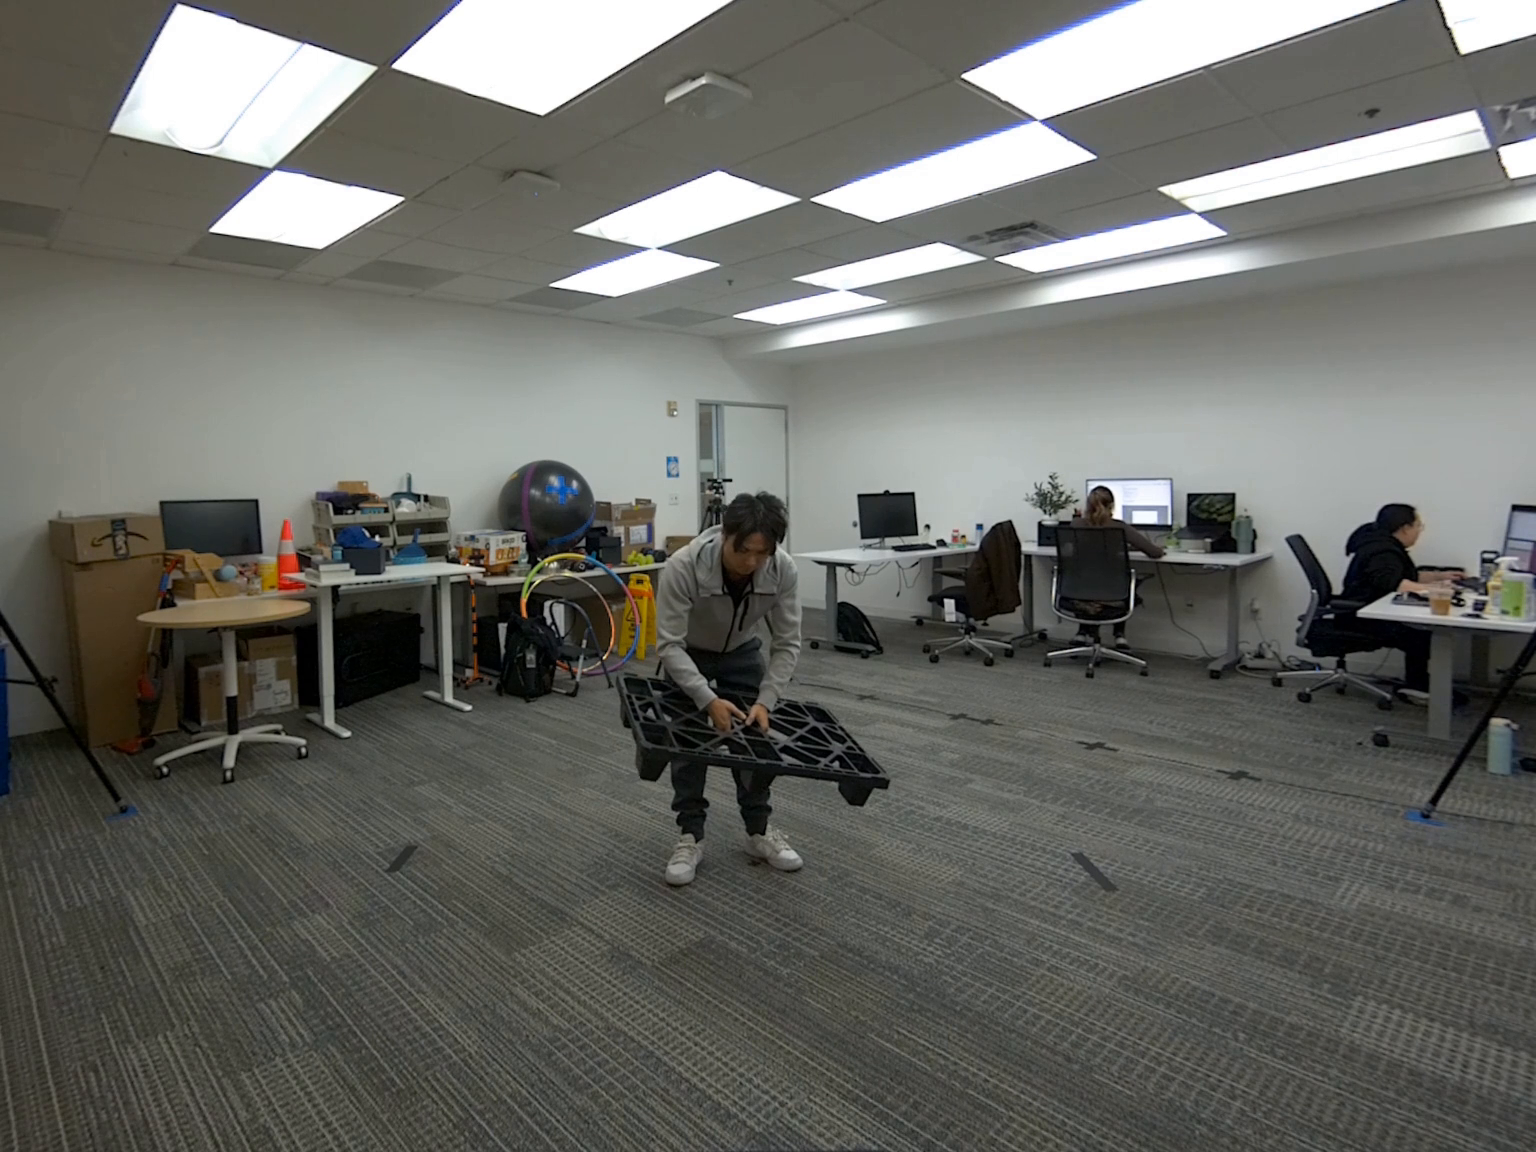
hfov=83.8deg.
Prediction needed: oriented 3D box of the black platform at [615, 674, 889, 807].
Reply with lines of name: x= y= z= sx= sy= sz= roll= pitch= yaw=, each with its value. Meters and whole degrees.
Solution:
black platform: x=-0.082 y=0.547 z=2.803 sx=0.791 sy=0.142 sz=0.620 roll=10 pitch=10 yaw=-17
